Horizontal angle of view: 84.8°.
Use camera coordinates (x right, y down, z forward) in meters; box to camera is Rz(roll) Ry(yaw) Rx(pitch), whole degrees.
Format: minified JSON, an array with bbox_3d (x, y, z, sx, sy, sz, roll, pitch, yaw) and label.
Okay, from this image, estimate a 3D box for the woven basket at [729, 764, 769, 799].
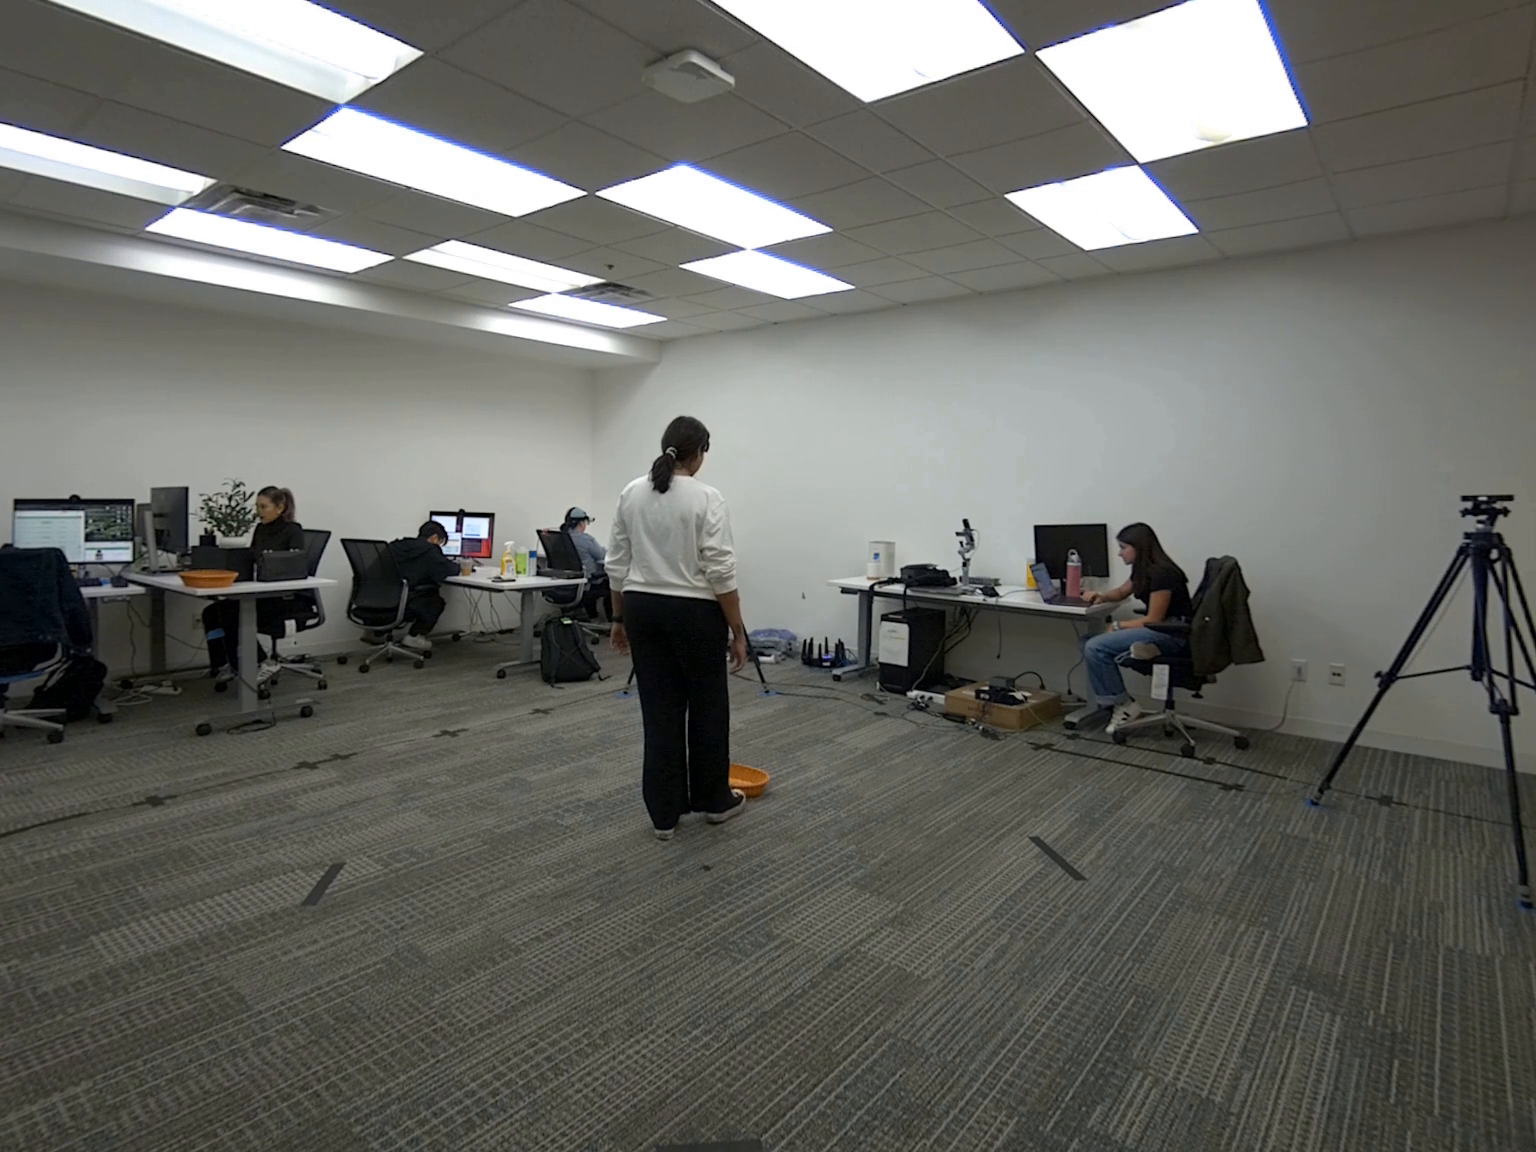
[{"bbox_3d":[-0.163,0.947,3.933,0.362,0.073,0.245,5,7,37],"label":"woven basket"}]
